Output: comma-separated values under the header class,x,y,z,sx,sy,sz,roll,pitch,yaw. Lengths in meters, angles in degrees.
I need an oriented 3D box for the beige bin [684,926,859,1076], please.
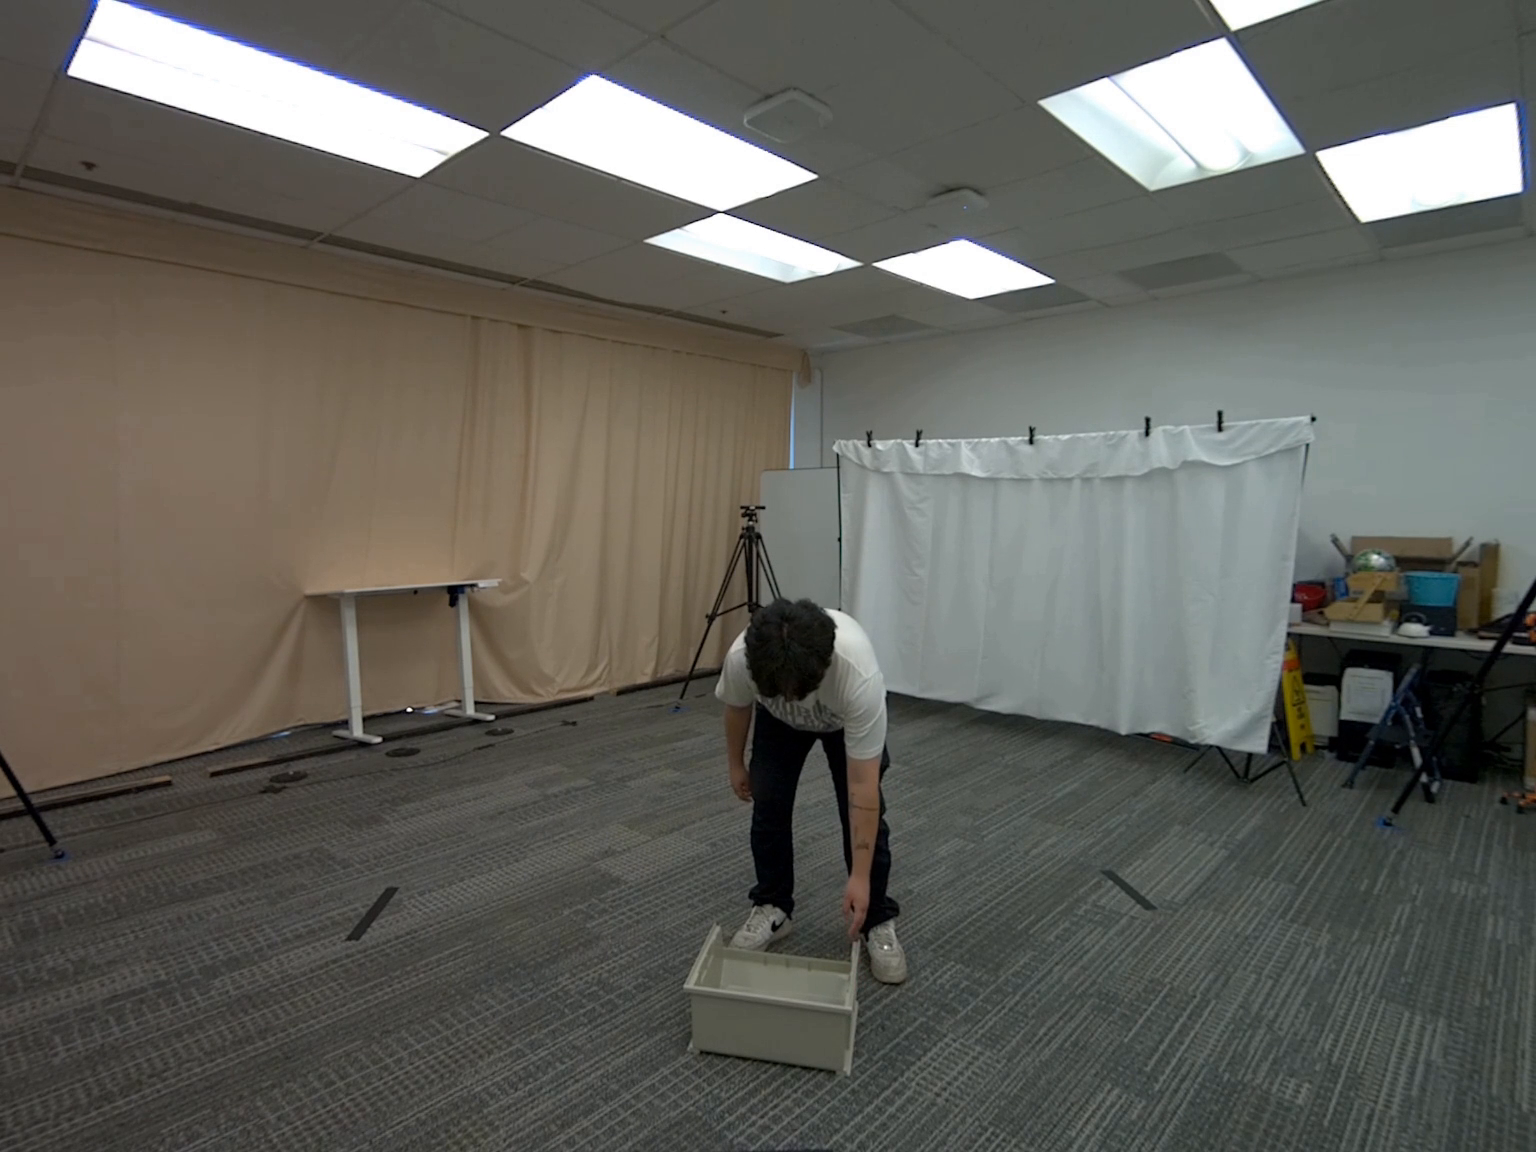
class,x,y,z,sx,sy,sz,roll,pitch,yaw
beige bin,0.027,1.114,2.270,0.428,0.188,0.373,2,5,12
